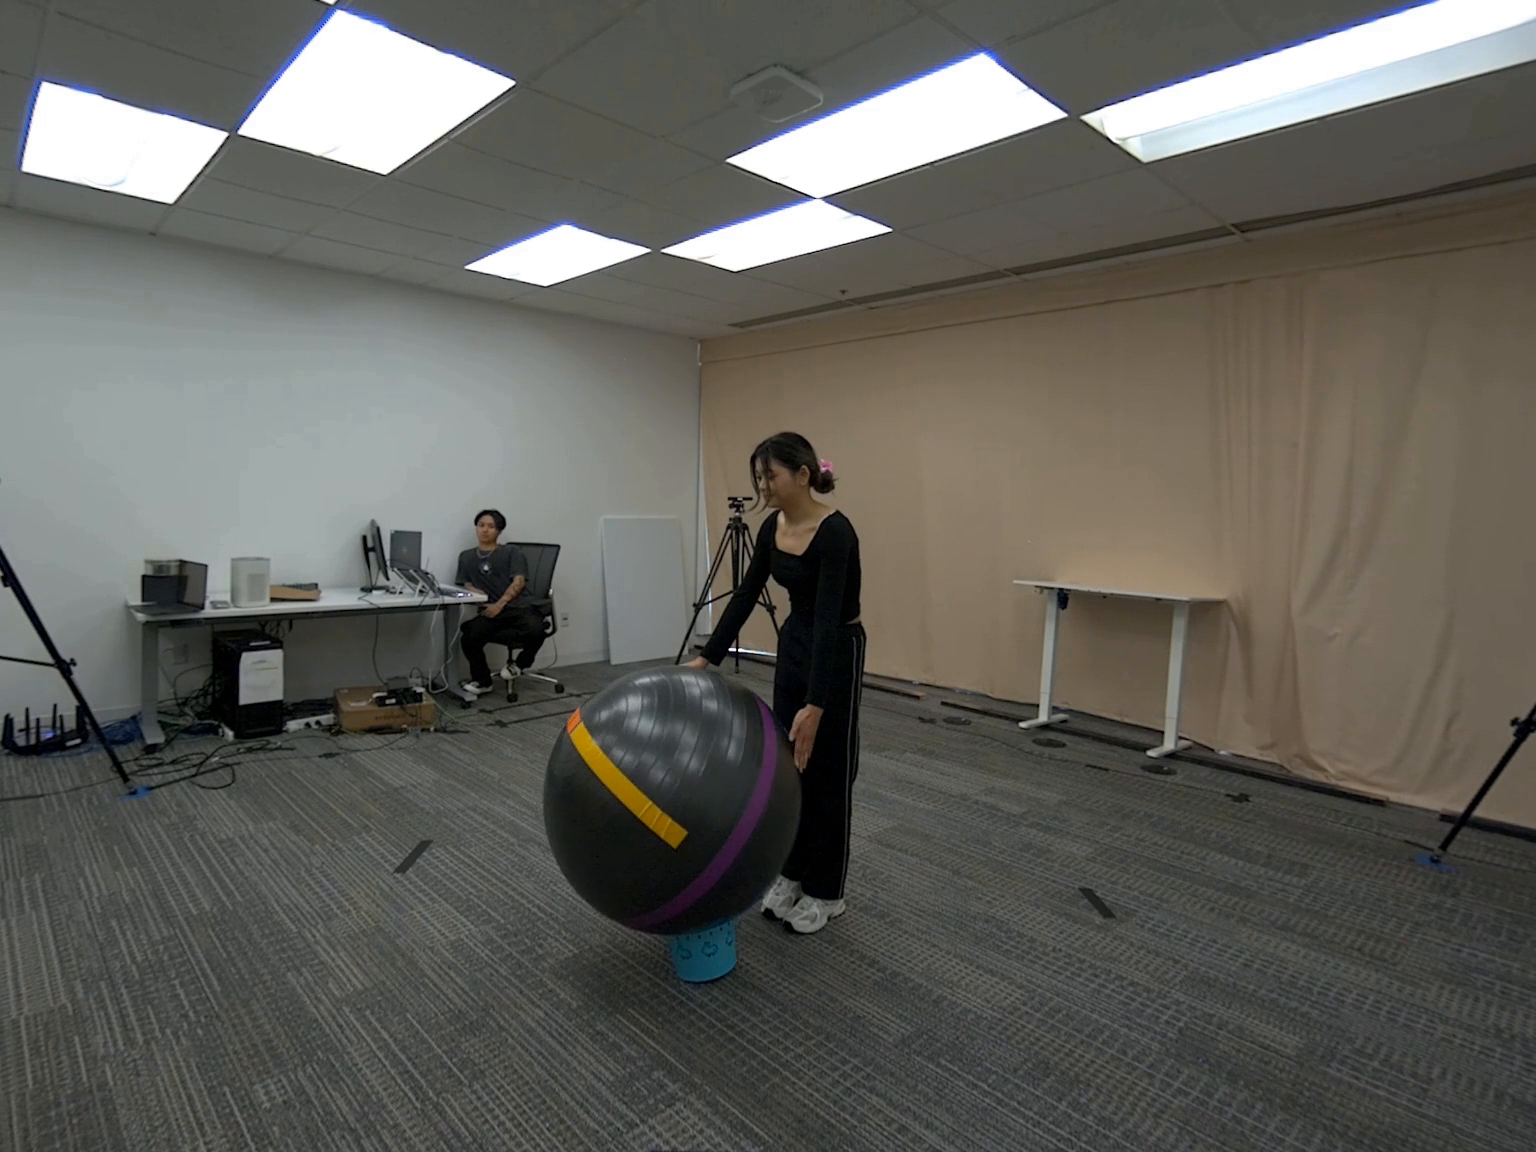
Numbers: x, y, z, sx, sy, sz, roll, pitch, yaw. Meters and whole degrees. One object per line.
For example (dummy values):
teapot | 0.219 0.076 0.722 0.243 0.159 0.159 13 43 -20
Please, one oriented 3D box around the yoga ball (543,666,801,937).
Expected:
yoga ball | -0.289 0.651 2.474 0.757 0.756 0.761 1 4 -1
